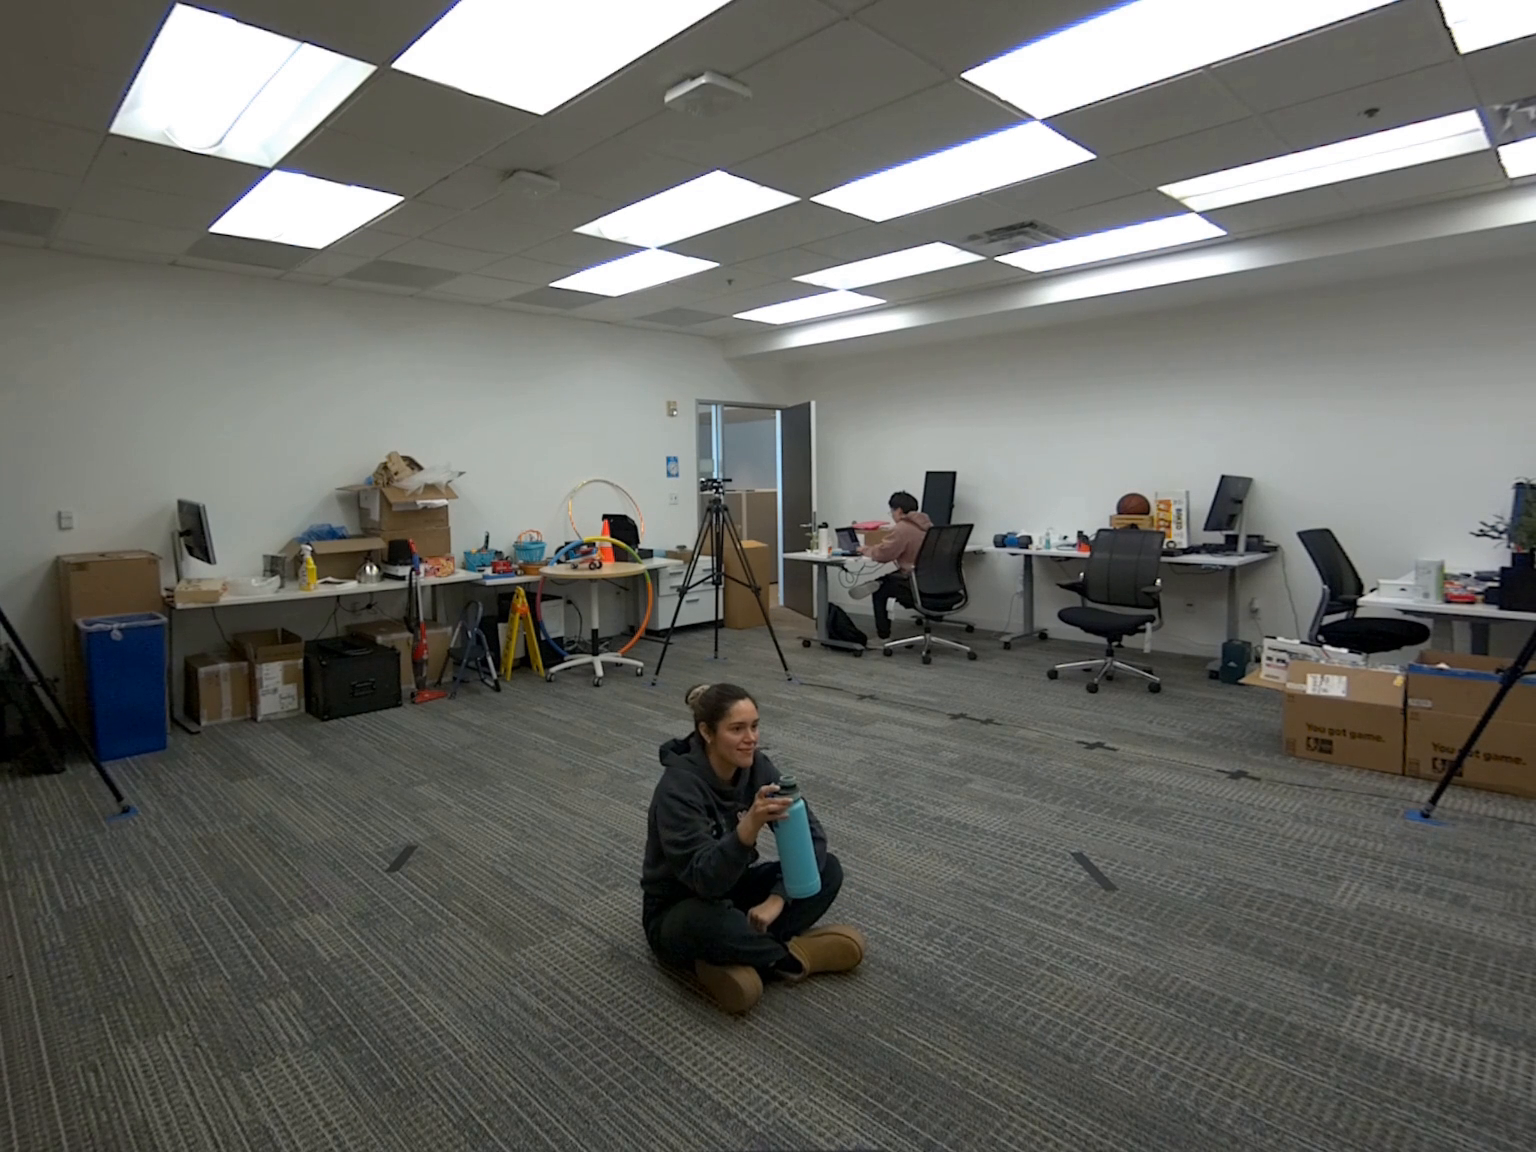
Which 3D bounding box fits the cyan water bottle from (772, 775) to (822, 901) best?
[{"bbox_3d":[0.056,0.647,2.125,0.092,0.283,0.092,-8,3,-1],"label":"cyan water bottle"}]
